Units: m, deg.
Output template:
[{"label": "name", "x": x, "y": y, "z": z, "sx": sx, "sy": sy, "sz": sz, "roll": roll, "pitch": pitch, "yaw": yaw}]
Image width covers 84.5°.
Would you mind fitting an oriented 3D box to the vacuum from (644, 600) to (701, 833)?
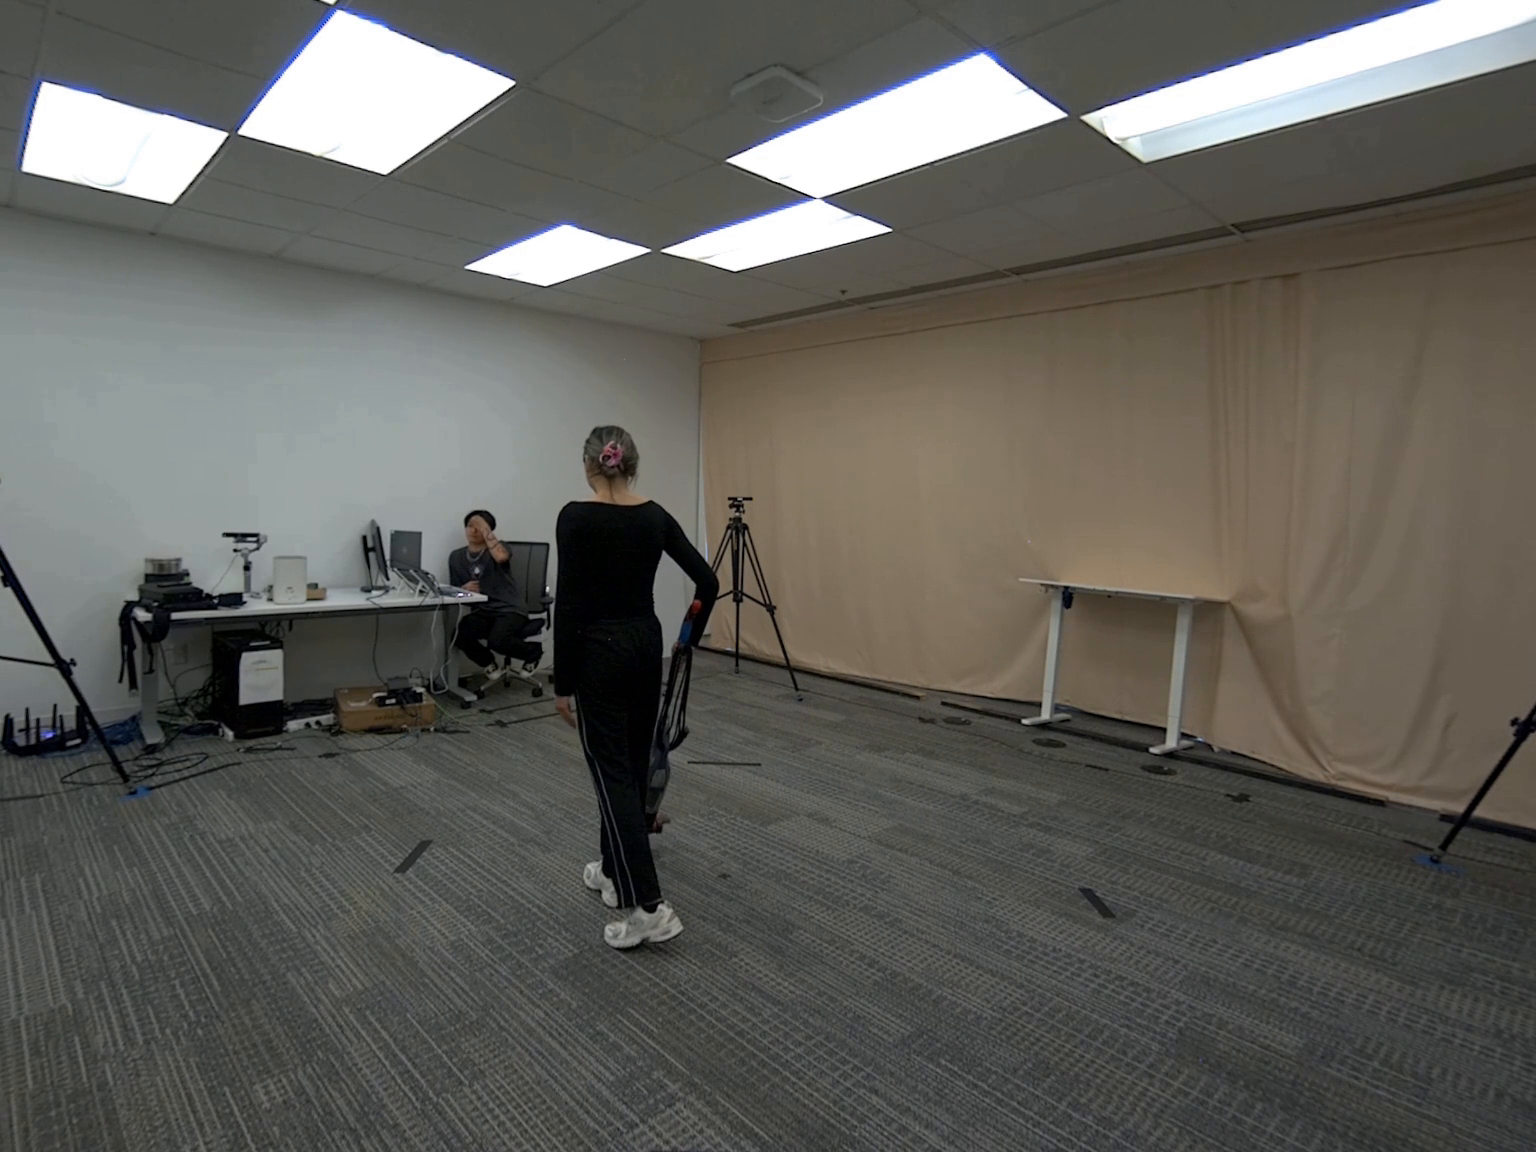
[{"label": "vacuum", "x": -0.370, "y": 0.544, "z": 3.026, "sx": 0.248, "sy": 1.037, "sz": 0.148, "roll": 4, "pitch": 29, "yaw": -24}]
